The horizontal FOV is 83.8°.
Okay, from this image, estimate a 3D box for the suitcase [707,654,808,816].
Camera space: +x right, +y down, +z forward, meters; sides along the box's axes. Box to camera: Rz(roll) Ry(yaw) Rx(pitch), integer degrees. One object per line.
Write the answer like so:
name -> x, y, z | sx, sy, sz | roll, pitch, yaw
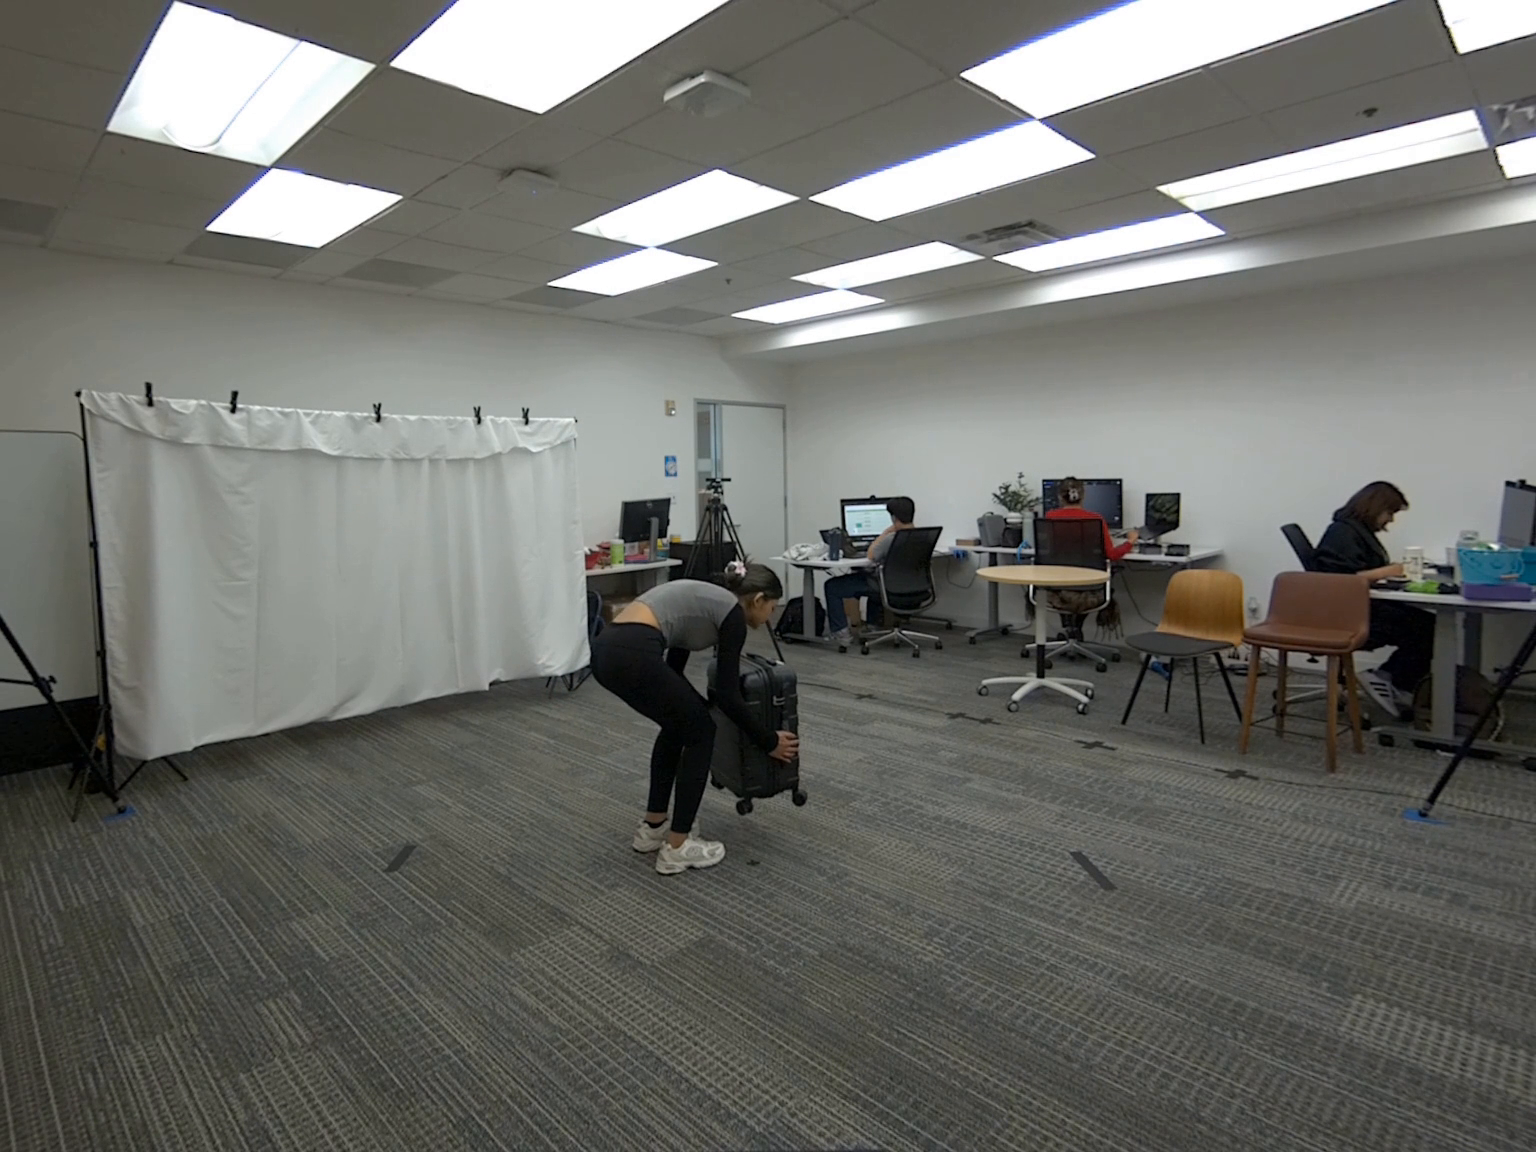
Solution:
suitcase -> -0.058, 0.589, 3.327 | 0.243, 0.547, 0.385 | -4, 6, -27
